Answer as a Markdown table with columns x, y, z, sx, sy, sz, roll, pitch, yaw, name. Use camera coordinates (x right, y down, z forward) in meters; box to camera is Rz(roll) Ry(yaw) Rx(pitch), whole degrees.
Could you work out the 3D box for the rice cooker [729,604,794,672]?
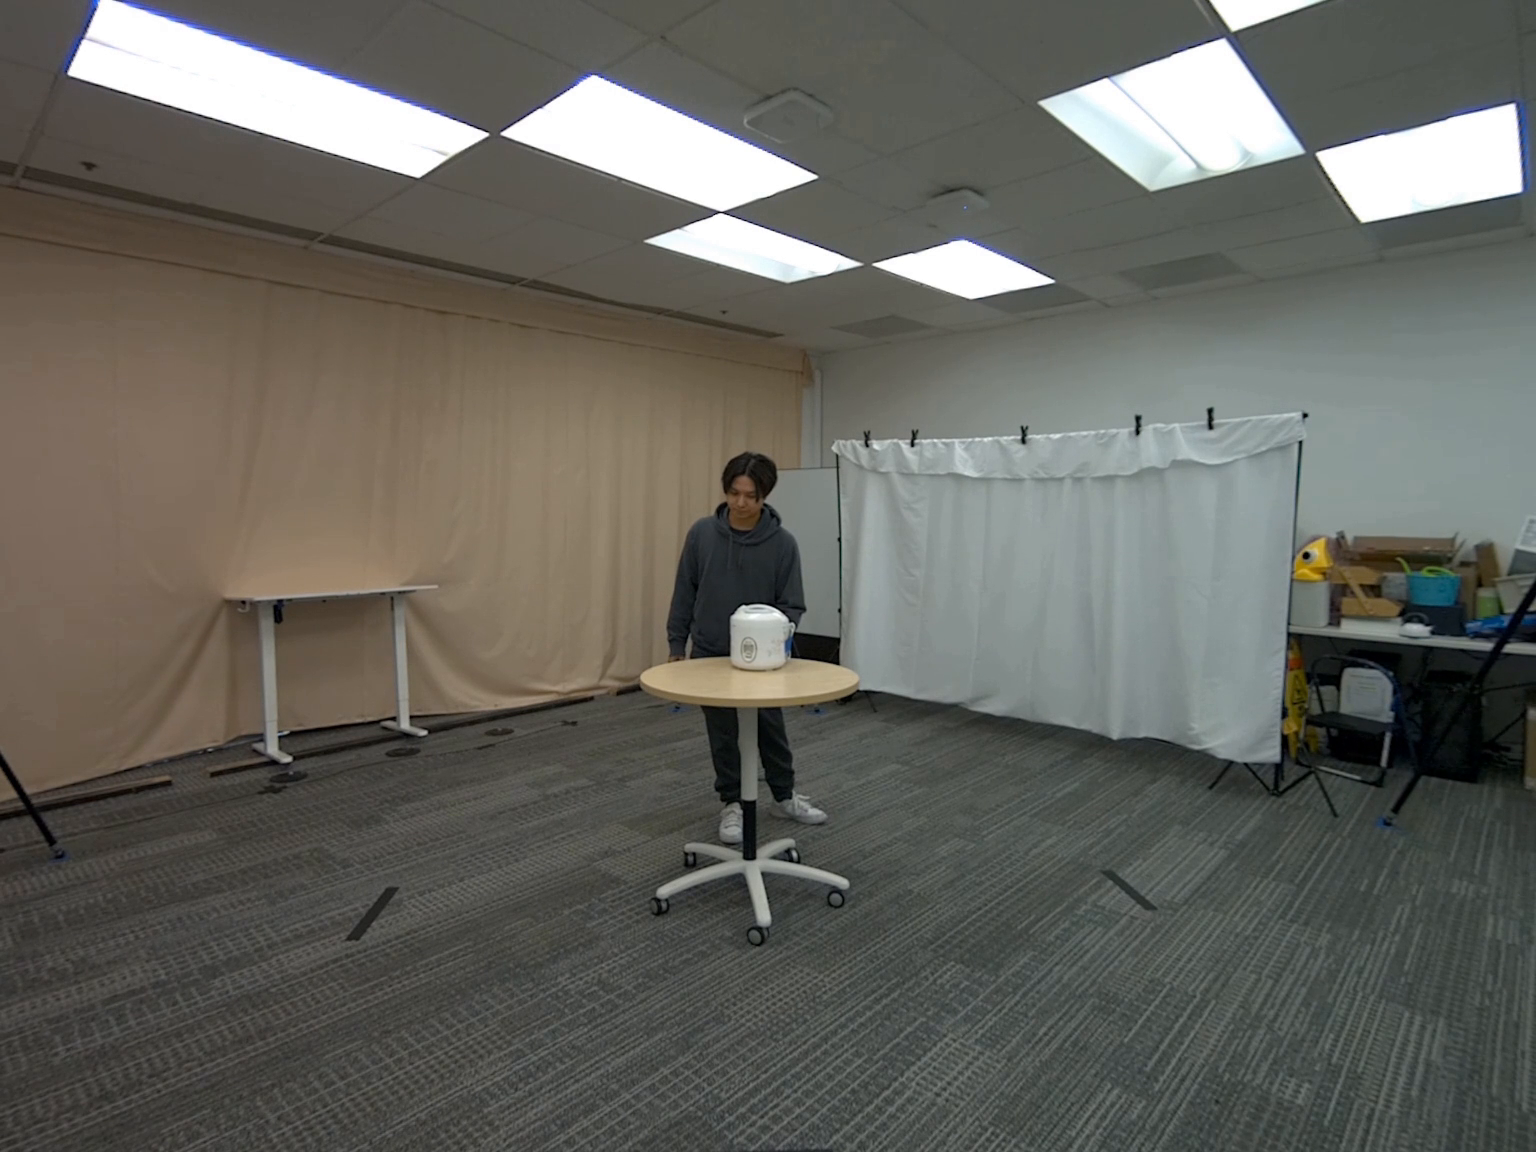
| x | y | z | sx | sy | sz | roll | pitch | yaw | name |
| --- | --- | --- | --- | --- | --- | --- | --- | --- | --- |
| -0.033 | 0.221 | 3.113 | 0.226 | 0.232 | 0.213 | 1 | 2 | 22 | rice cooker |
